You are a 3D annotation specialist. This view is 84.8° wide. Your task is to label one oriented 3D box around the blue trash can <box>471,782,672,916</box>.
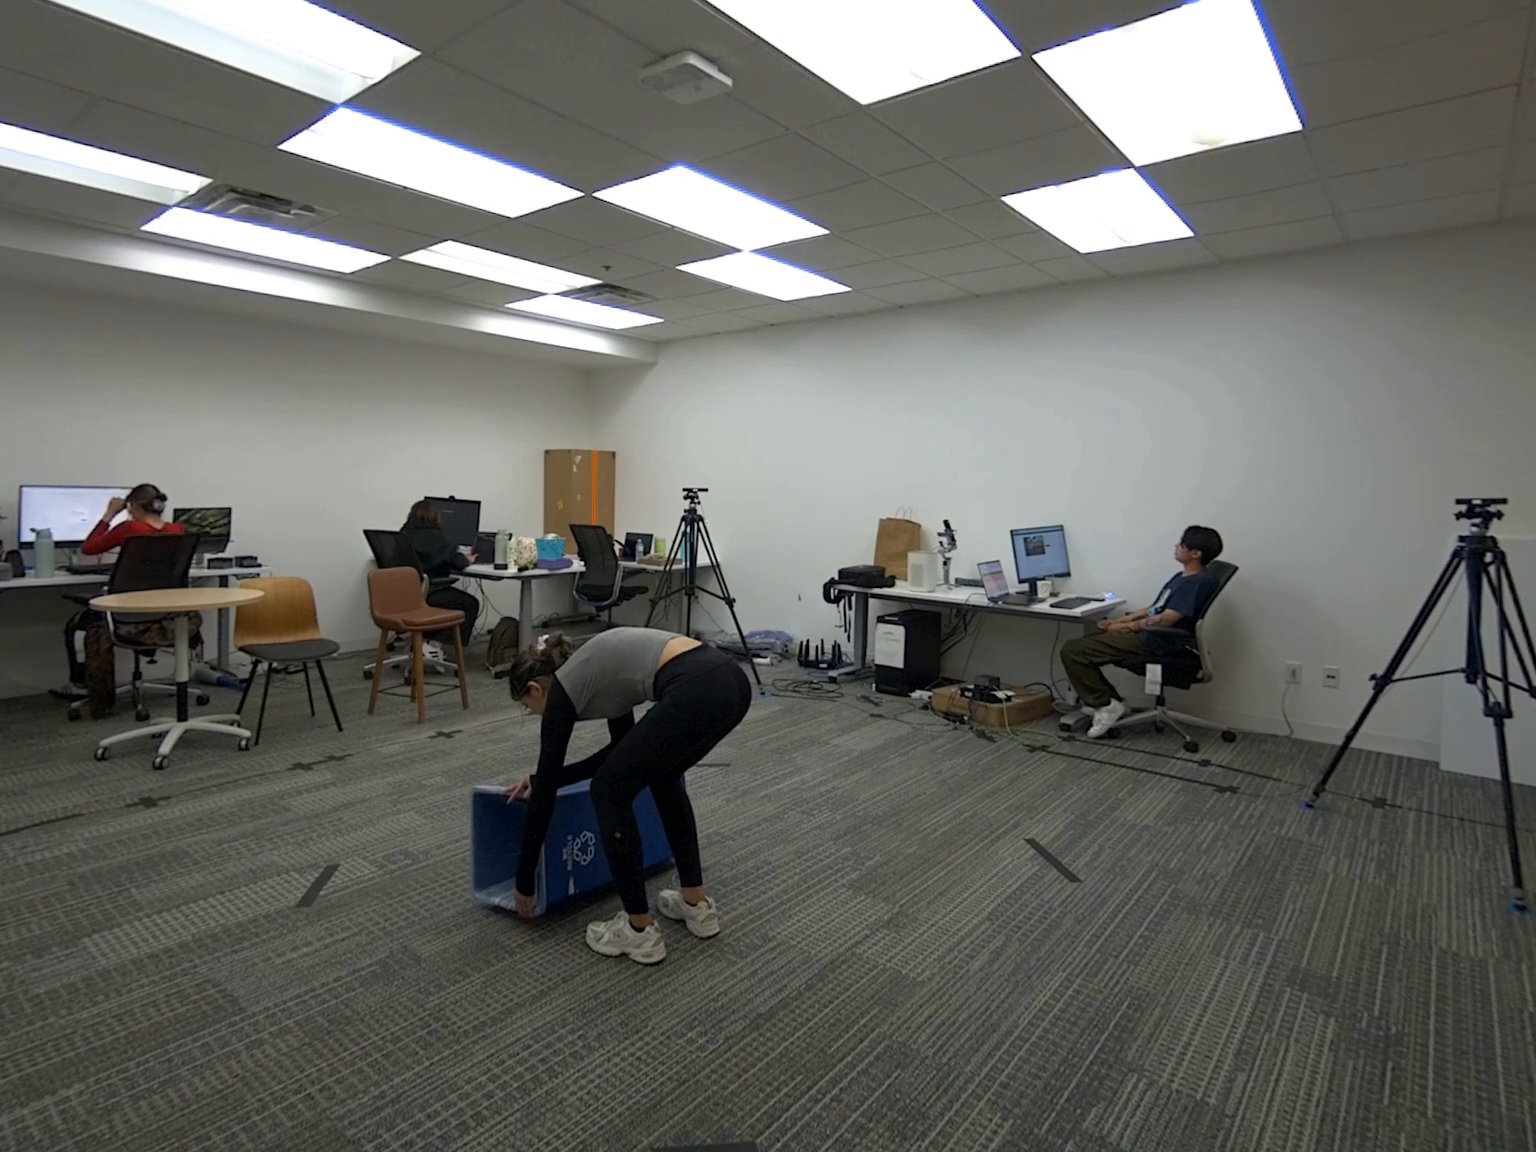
[{"bbox_3d":[-0.656,0.869,2.993,0.388,0.376,0.690,-8,-6,38],"label":"blue trash can"}]
